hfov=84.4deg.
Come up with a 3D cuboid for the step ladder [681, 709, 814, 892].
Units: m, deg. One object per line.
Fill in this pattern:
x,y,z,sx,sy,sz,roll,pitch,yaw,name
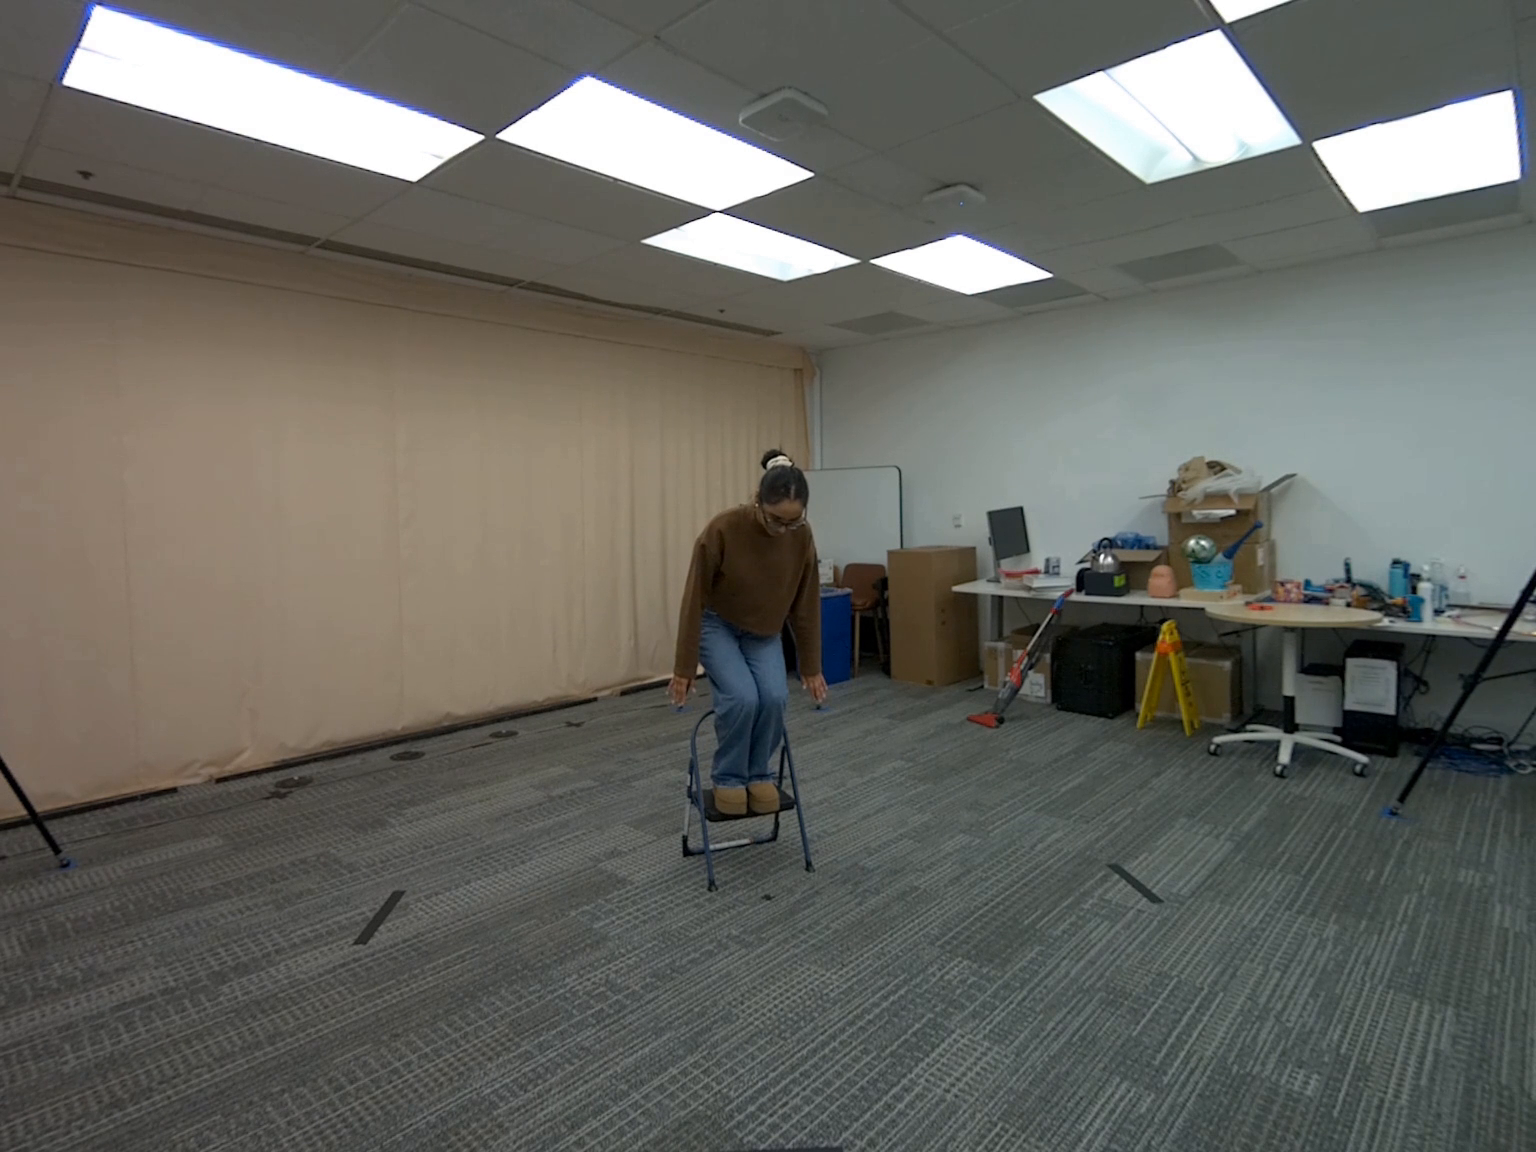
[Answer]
-0.088,0.819,3.260,0.421,0.604,0.358,-3,4,-23,step ladder
